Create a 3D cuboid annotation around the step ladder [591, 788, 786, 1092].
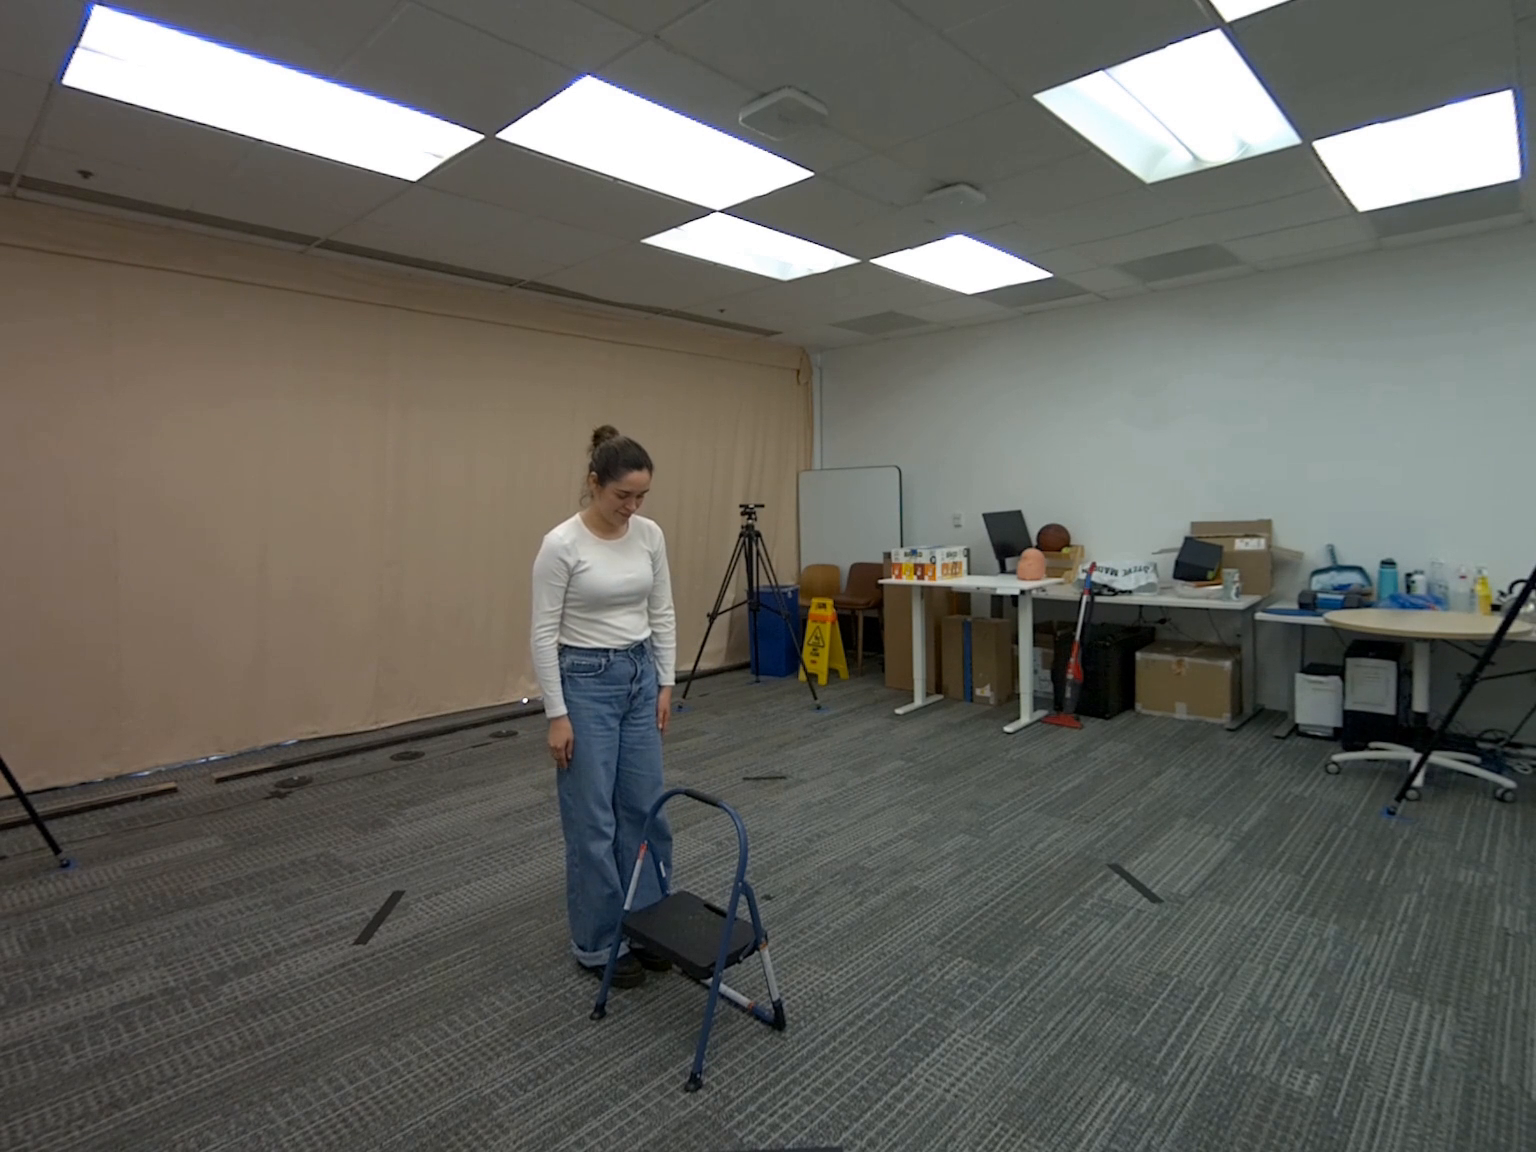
[{"bbox_3d":[-0.214,0.906,2.243,0.445,0.604,0.339,3,6,44],"label":"step ladder"}]
